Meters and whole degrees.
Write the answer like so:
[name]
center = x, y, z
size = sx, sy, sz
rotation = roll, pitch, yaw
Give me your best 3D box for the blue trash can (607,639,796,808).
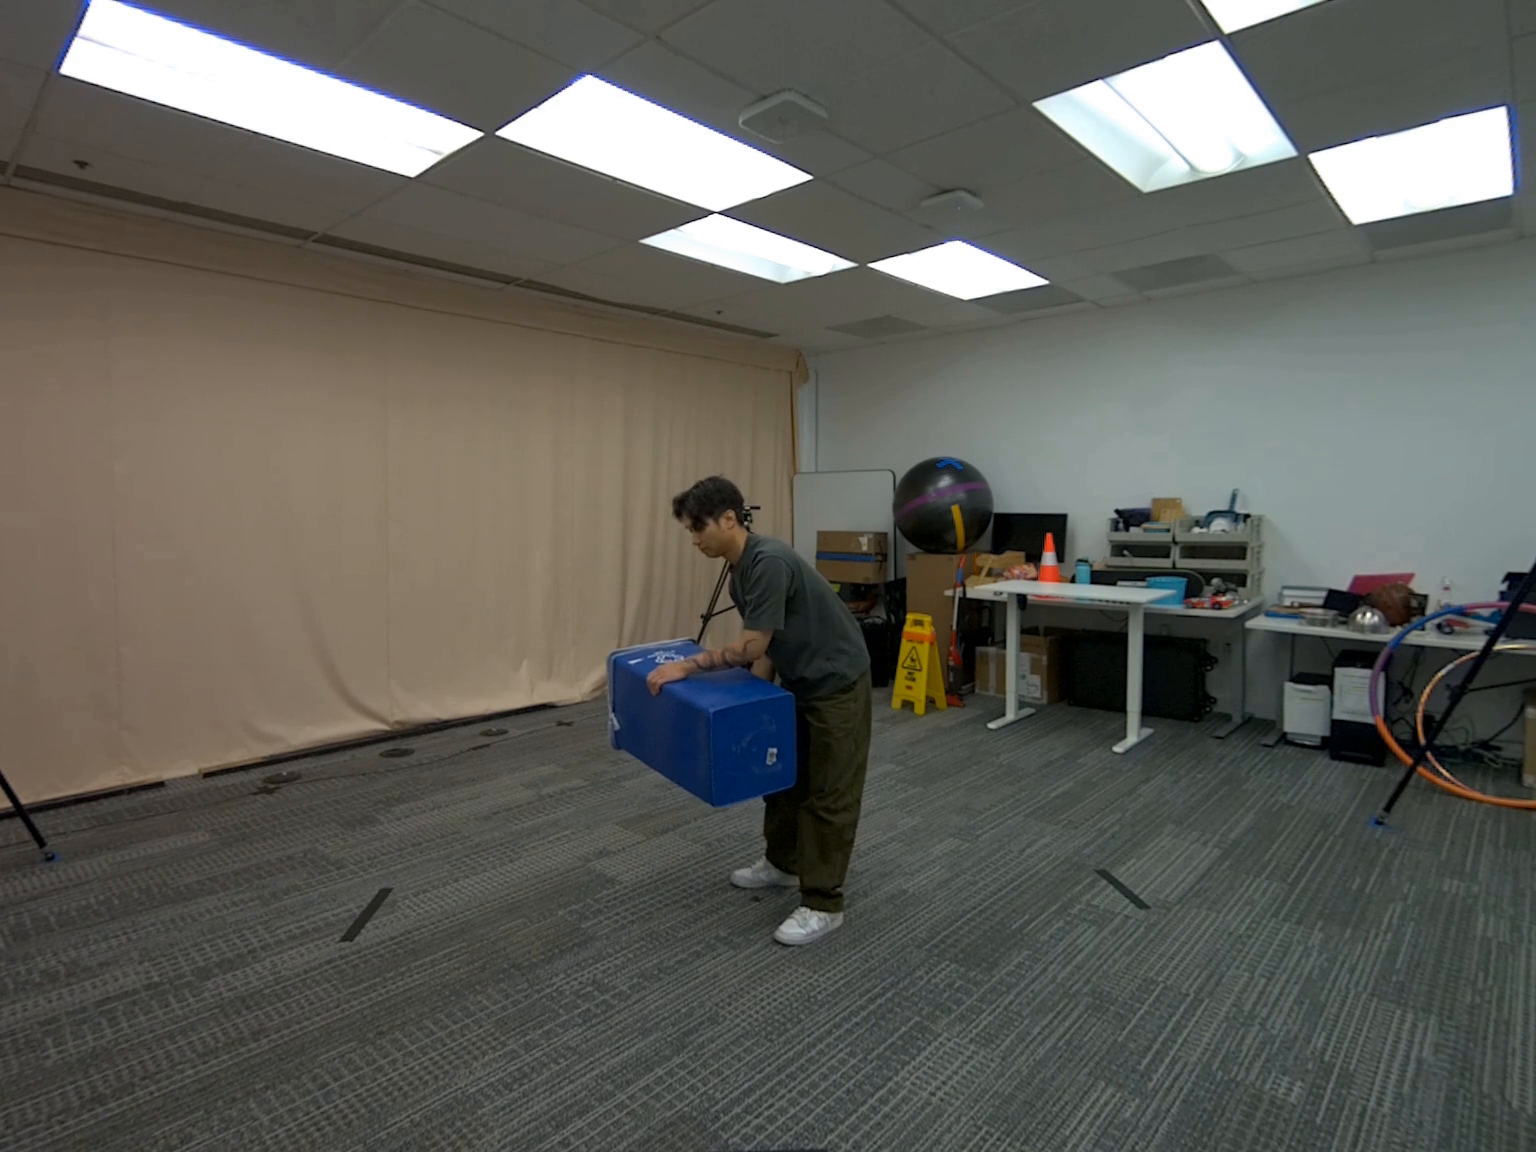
[blue trash can]
center = -0.229, 0.484, 2.831
size = 0.368, 0.372, 0.736
rotation = -6, 11, -31
